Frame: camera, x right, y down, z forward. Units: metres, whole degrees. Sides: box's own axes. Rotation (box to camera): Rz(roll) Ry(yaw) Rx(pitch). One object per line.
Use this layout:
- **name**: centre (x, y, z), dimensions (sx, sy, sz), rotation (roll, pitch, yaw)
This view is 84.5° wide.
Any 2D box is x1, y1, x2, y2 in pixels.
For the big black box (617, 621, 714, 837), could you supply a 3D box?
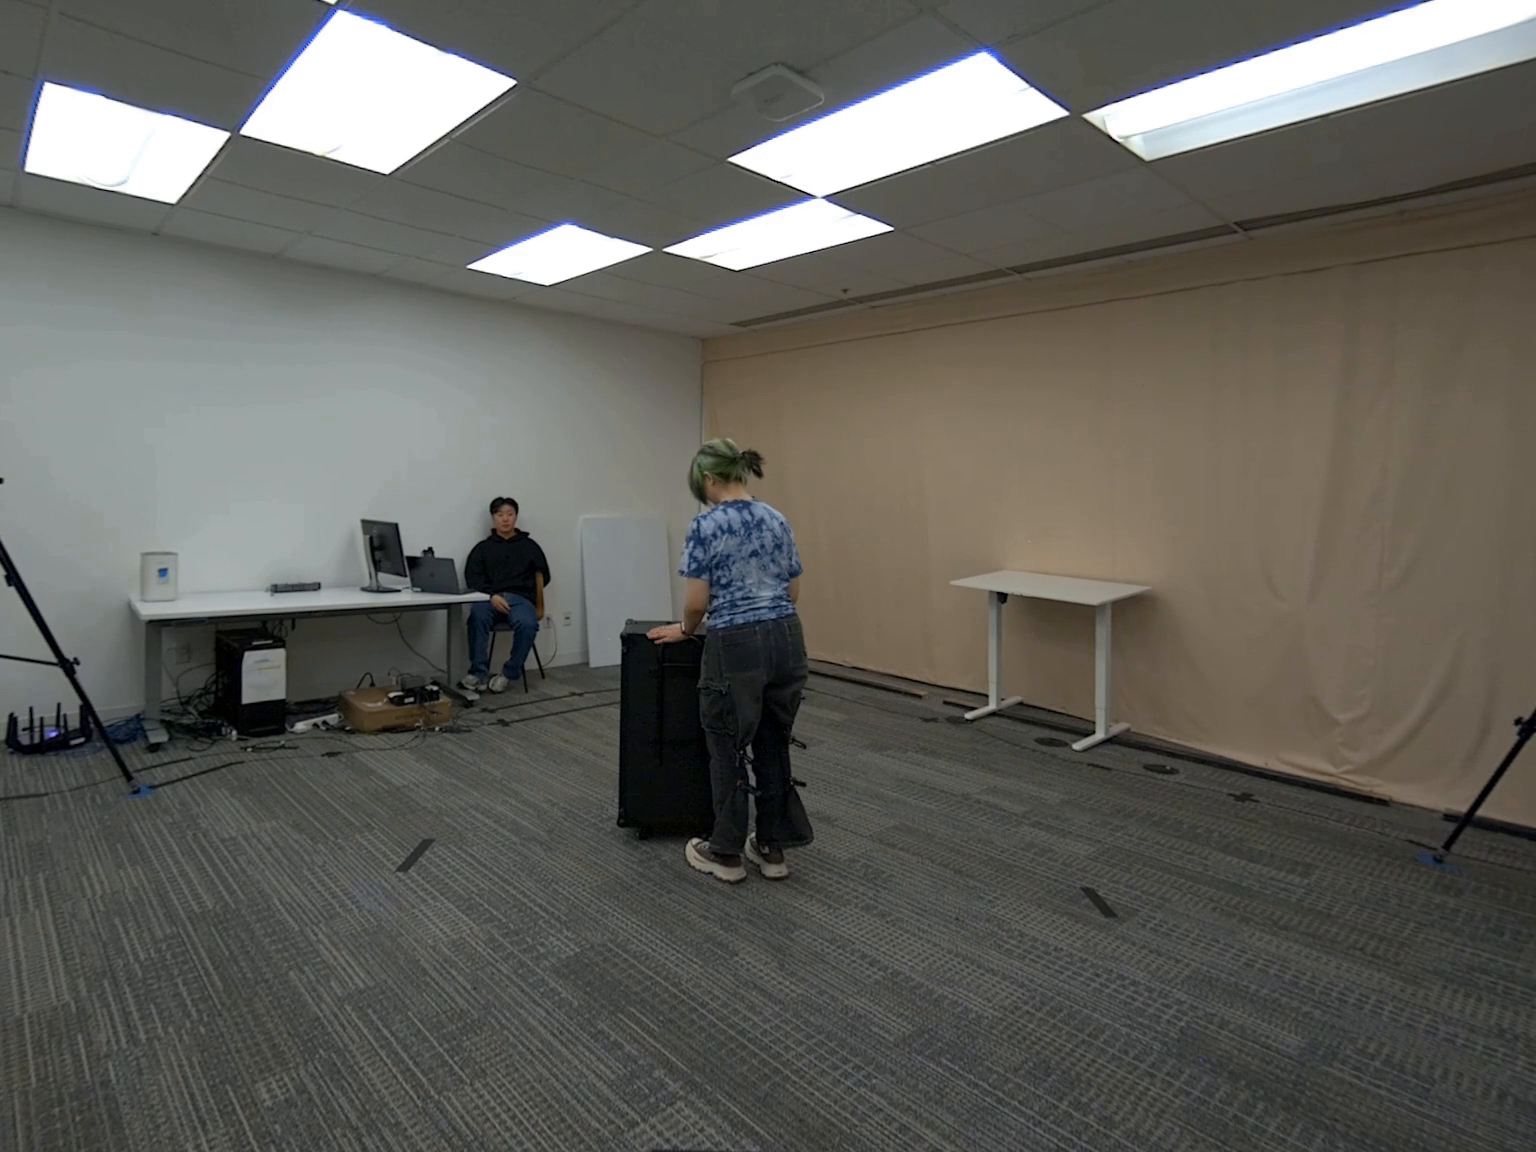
- **big black box**: centre (-0.373, 0.641, 3.511), dimensions (0.520, 0.859, 0.398), rotation (2, 4, -3)
